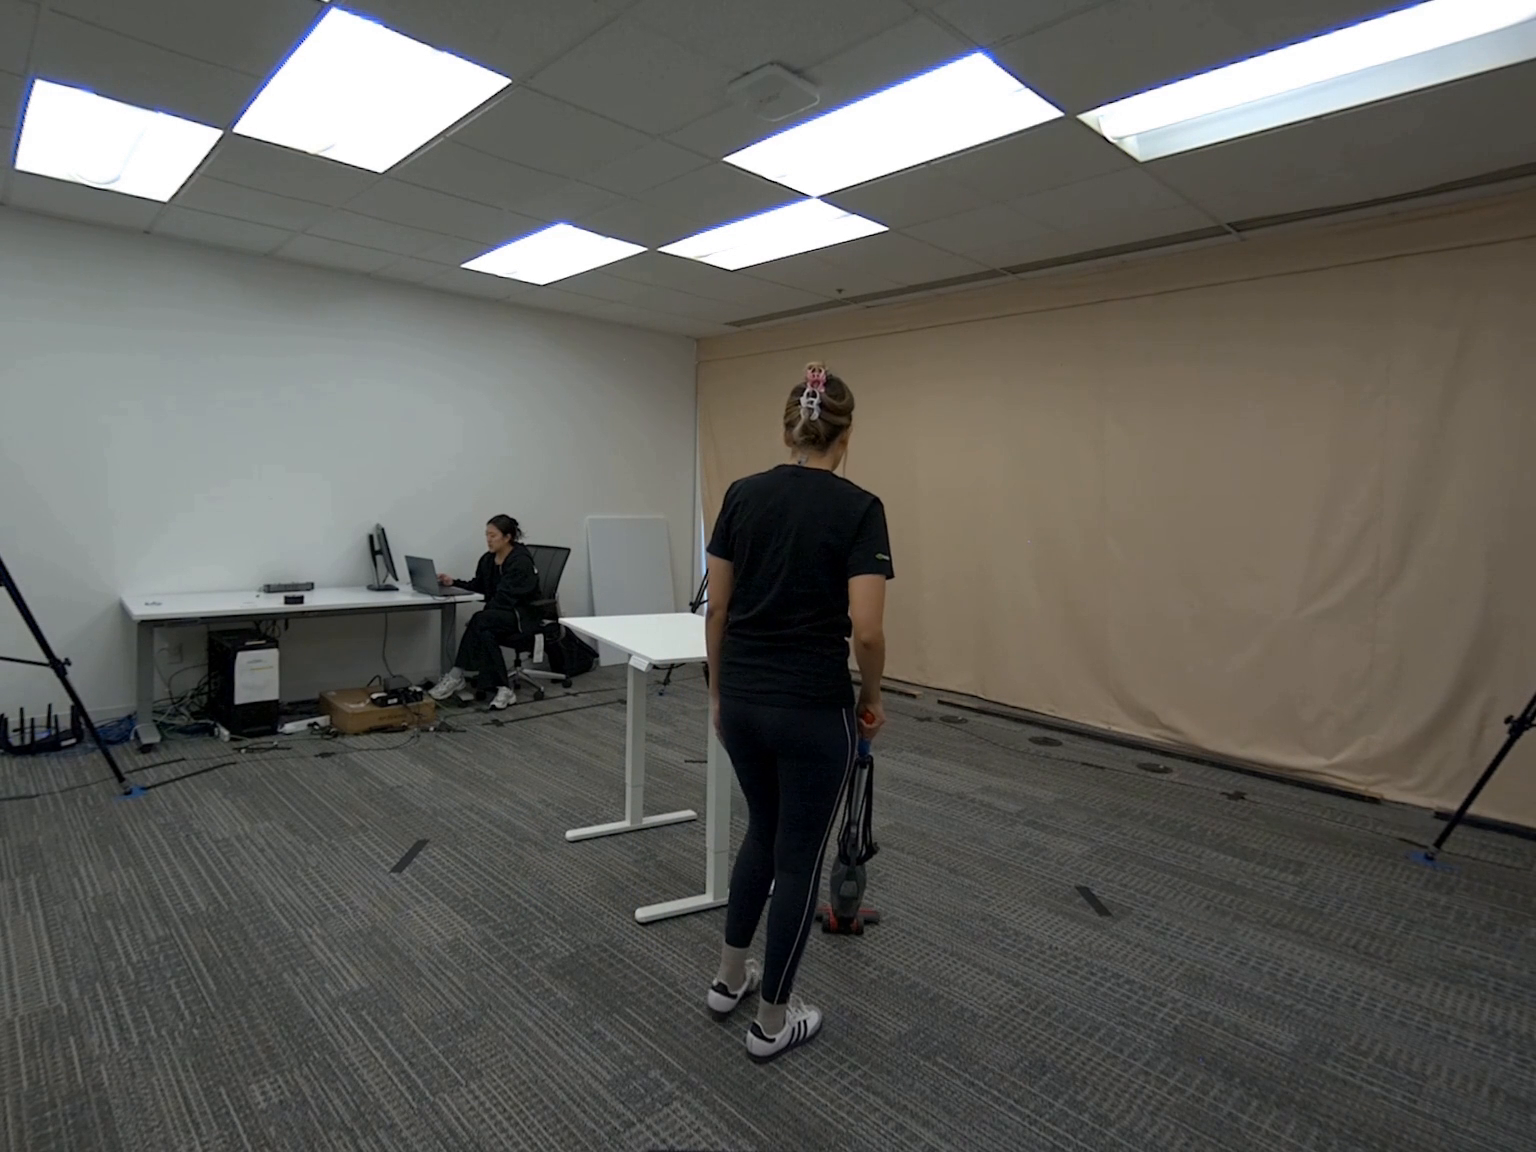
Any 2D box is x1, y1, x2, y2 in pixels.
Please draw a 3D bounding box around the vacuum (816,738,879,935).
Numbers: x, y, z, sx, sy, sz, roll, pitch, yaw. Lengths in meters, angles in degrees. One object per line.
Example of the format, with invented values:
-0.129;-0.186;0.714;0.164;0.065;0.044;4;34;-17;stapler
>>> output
0.244;0.747;2.427;0.253;1.026;0.146;4;42;4;vacuum
